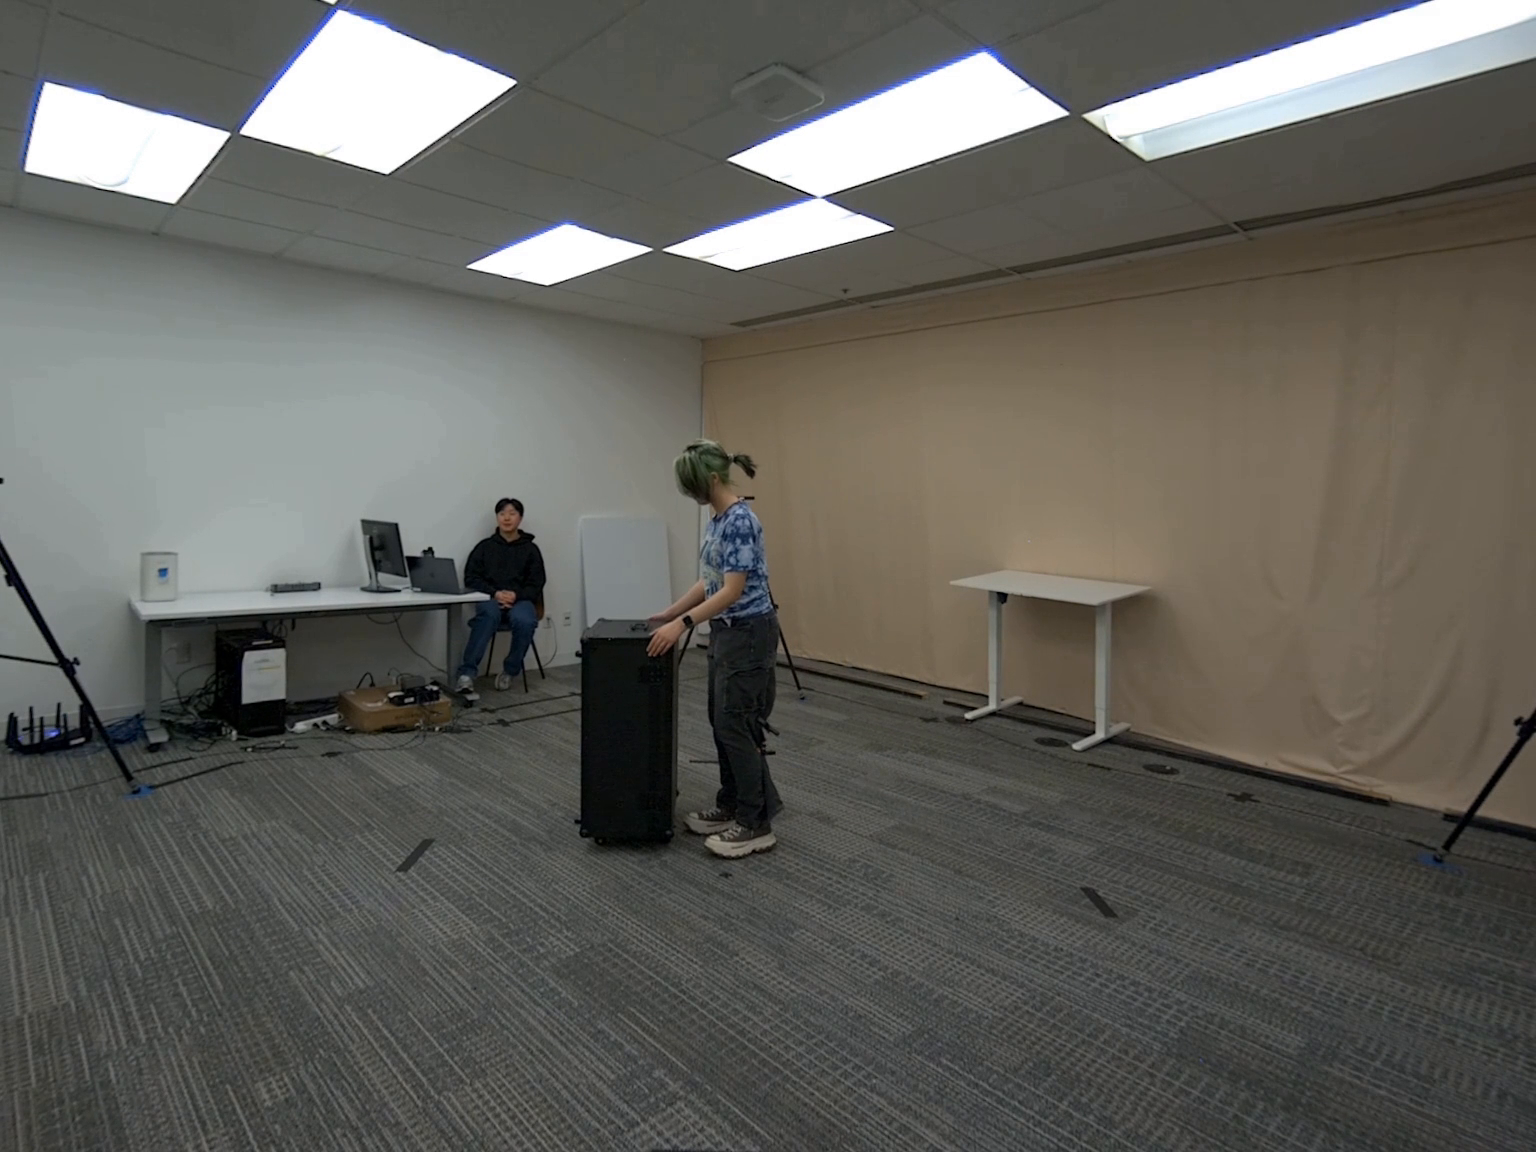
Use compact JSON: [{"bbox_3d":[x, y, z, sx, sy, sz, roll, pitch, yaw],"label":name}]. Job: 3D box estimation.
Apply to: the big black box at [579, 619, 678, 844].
[{"bbox_3d":[-0.576,0.639,3.460,0.395,0.859,0.524,0,4,-4],"label":"big black box"}]
